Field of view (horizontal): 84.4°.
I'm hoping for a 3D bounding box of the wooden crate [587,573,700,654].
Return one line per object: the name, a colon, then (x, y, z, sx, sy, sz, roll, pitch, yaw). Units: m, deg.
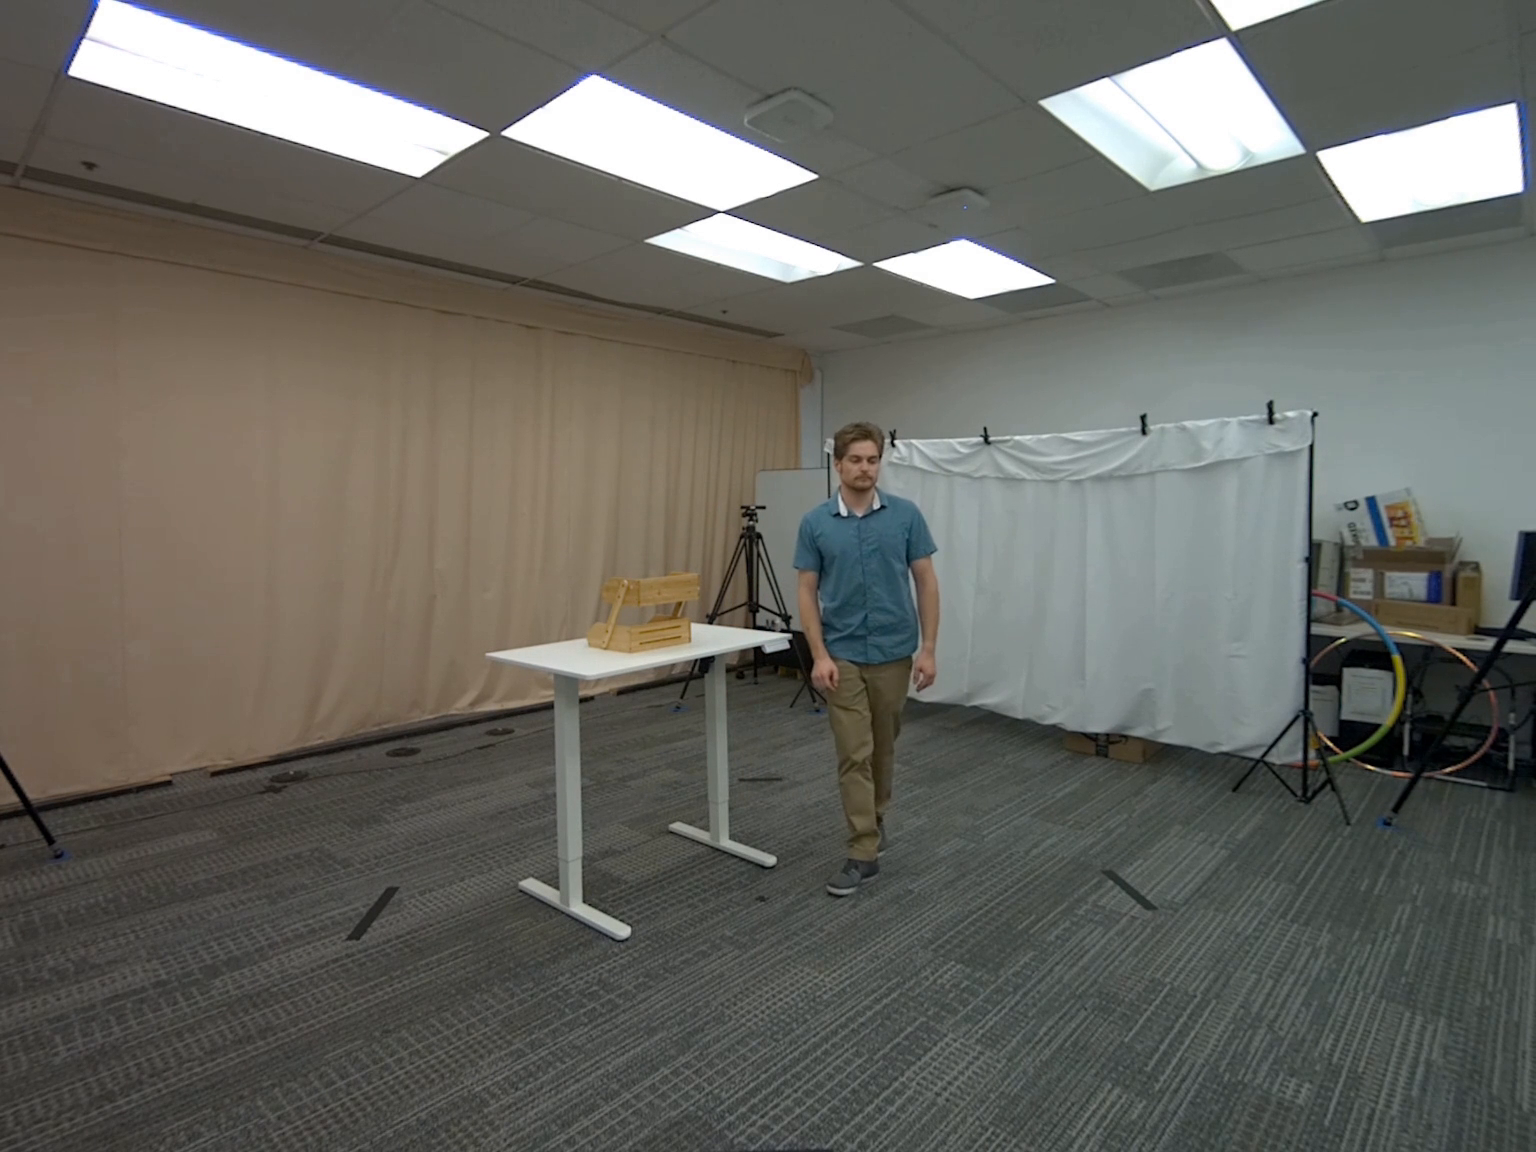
wooden crate: (-0.473, 0.125, 3.102, 0.312, 0.273, 0.315, 2, 5, 40)
